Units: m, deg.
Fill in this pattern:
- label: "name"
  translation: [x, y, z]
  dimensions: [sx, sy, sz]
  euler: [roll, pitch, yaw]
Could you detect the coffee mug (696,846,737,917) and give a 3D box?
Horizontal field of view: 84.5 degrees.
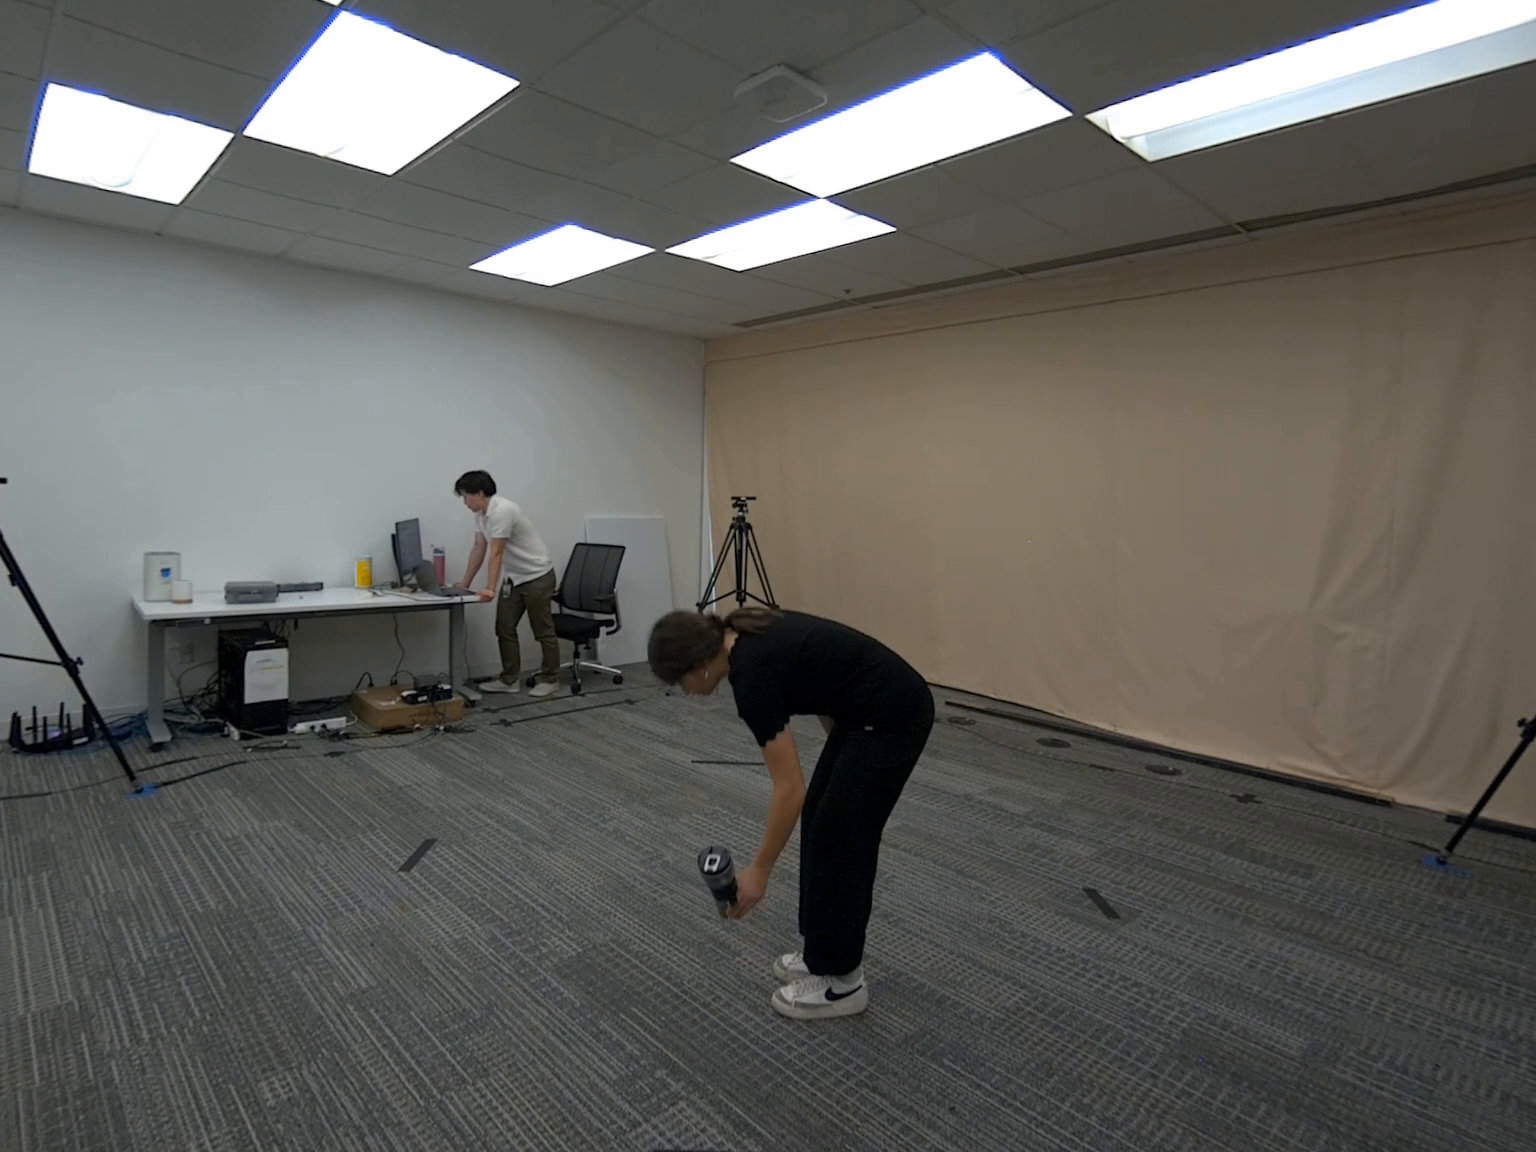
- label: "coffee mug"
  translation: [-0.110, 0.803, 2.132]
  dimensions: [0.087, 0.199, 0.125]
  euler: [-16, 27, -7]
